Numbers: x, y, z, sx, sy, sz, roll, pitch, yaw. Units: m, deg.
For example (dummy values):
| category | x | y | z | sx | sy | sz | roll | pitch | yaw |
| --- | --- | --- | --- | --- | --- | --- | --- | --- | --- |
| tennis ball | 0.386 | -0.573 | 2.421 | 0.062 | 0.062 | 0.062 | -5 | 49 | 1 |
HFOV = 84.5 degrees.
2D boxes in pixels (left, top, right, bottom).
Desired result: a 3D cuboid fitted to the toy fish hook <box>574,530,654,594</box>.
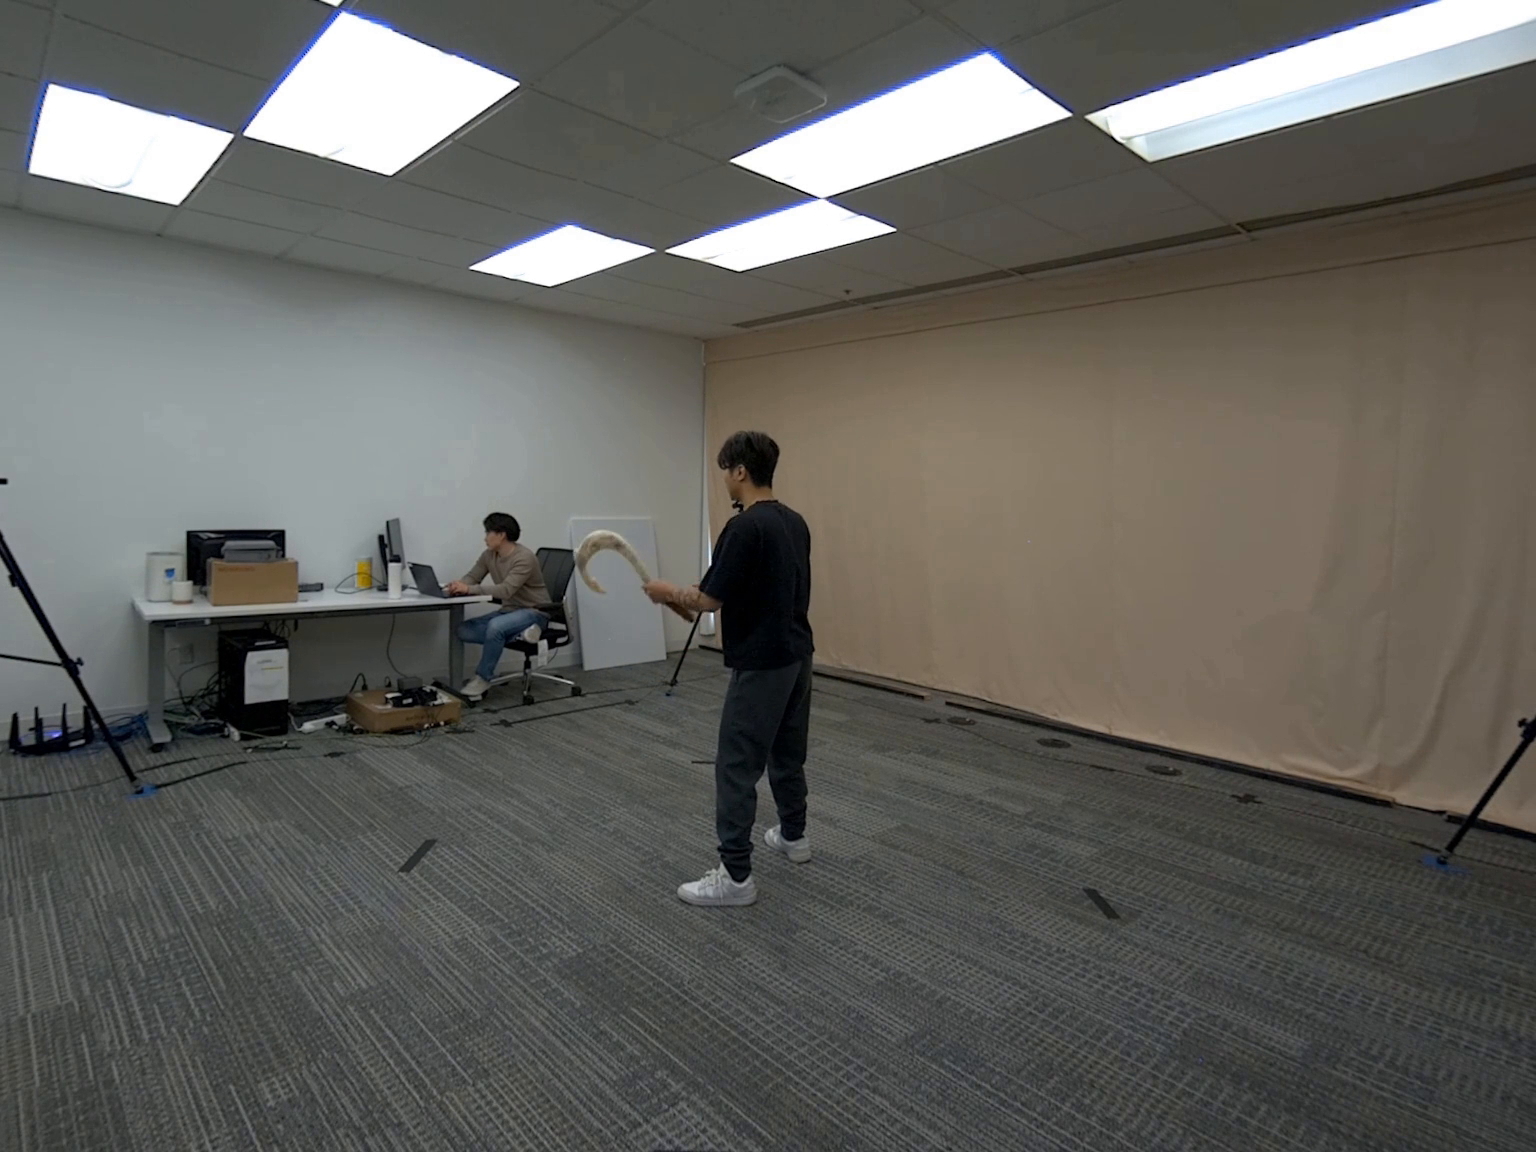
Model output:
| category | x | y | z | sx | sy | sz | roll | pitch | yaw |
| --- | --- | --- | --- | --- | --- | --- | --- | --- | --- |
| toy fish hook | -0.479 | 0.058 | 3.098 | 0.500 | 0.224 | 0.049 | 41 | 14 | -12 |
